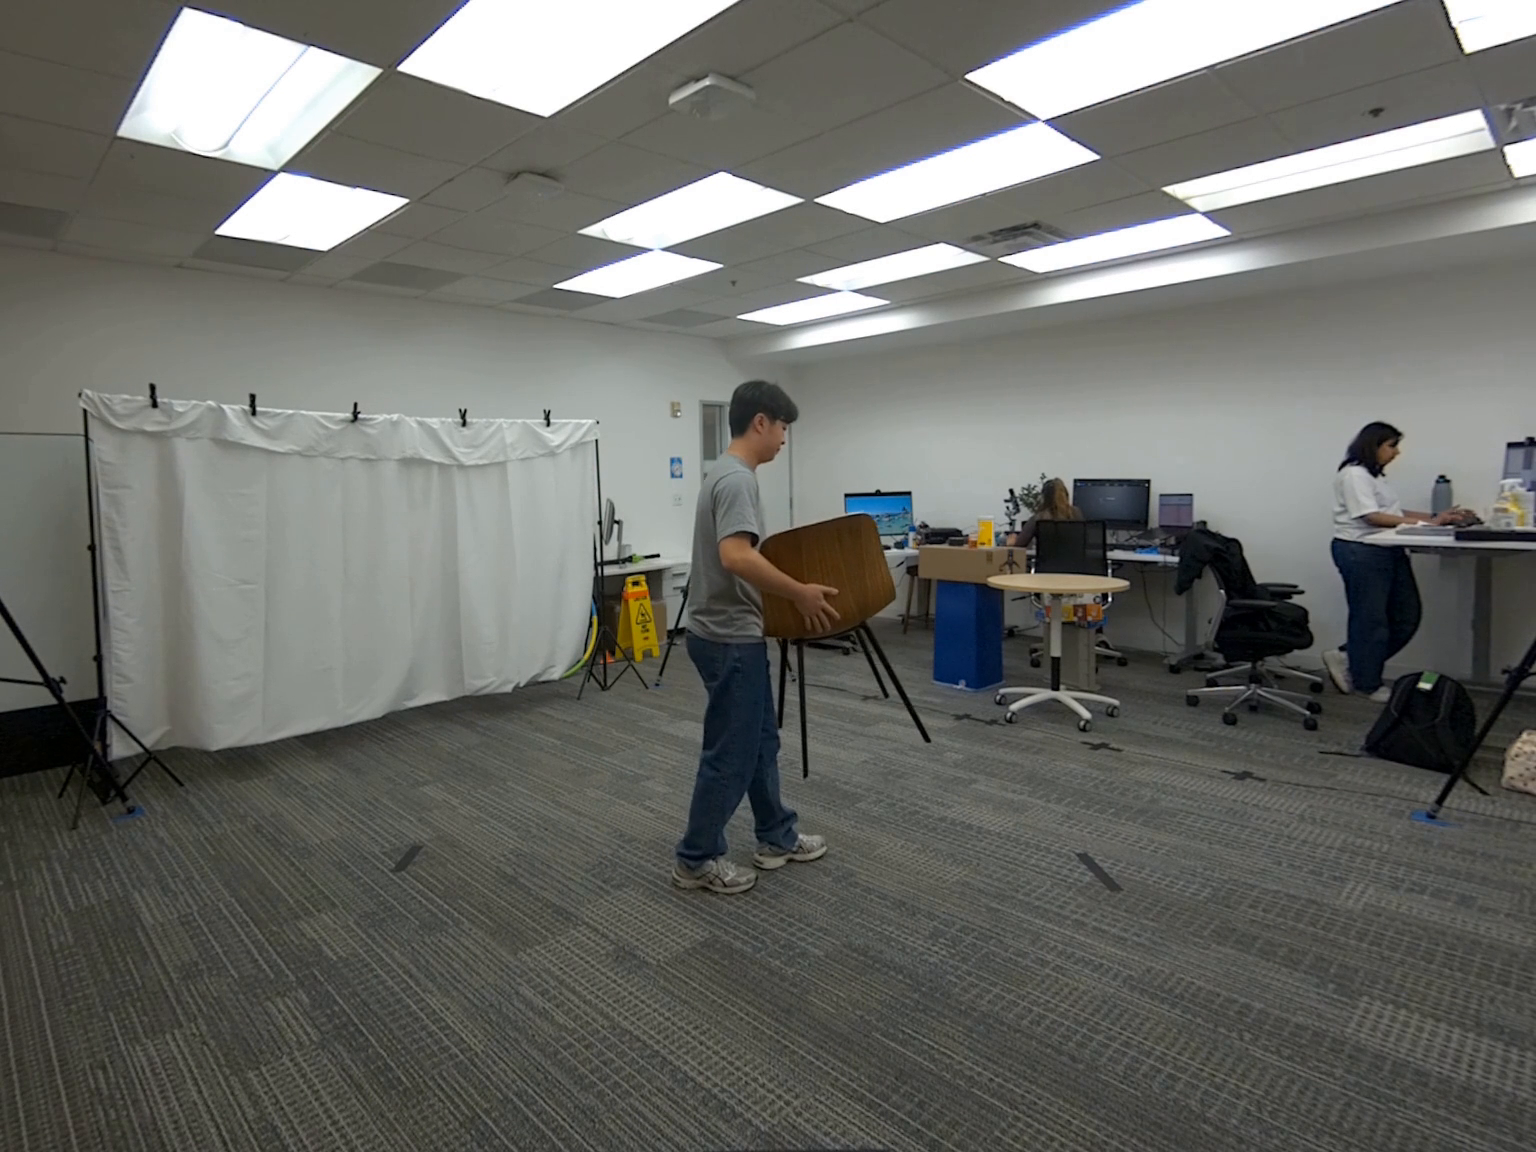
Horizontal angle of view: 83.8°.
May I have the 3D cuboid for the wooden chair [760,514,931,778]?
[{"bbox_3d":[0.192,0.173,3.007,0.475,0.863,0.535,-16,15,-9],"label":"wooden chair"}]
